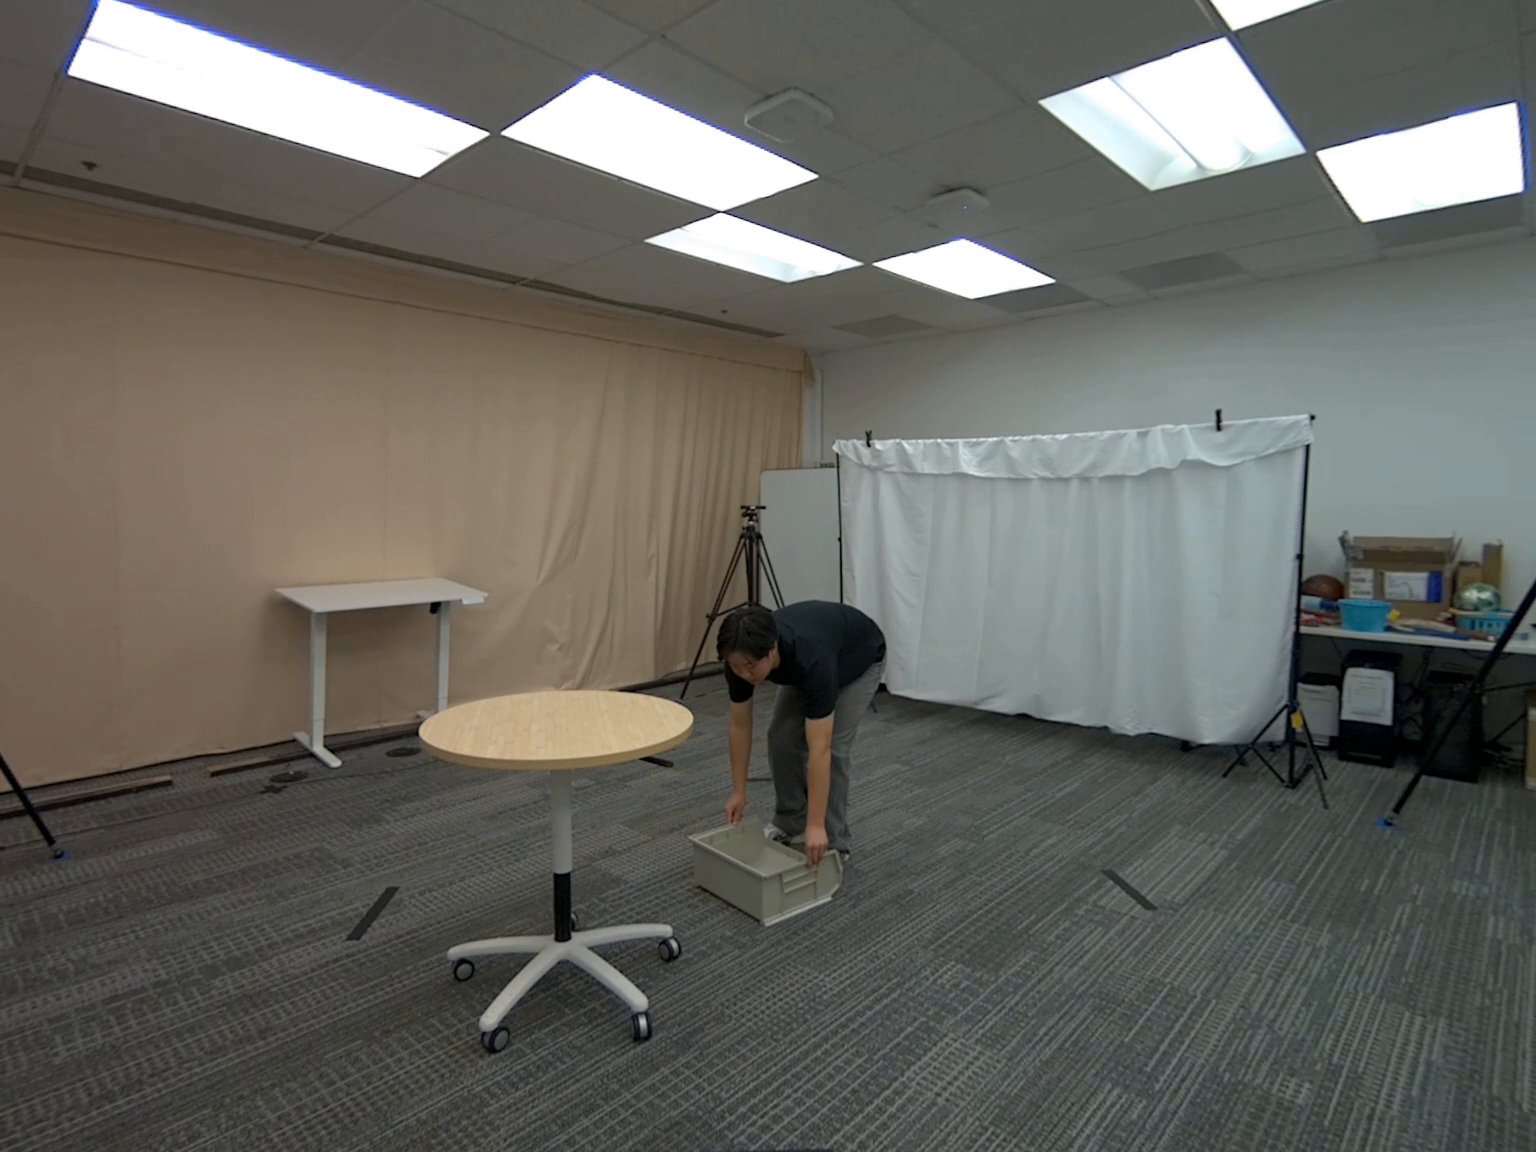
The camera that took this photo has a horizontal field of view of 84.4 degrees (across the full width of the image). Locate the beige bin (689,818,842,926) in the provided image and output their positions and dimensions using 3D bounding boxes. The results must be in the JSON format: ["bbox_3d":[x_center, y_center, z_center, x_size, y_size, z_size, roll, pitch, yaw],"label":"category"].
[{"bbox_3d":[-0.013,1.046,3.045,0.366,0.188,0.436,-6,8,-41],"label":"beige bin"}]
